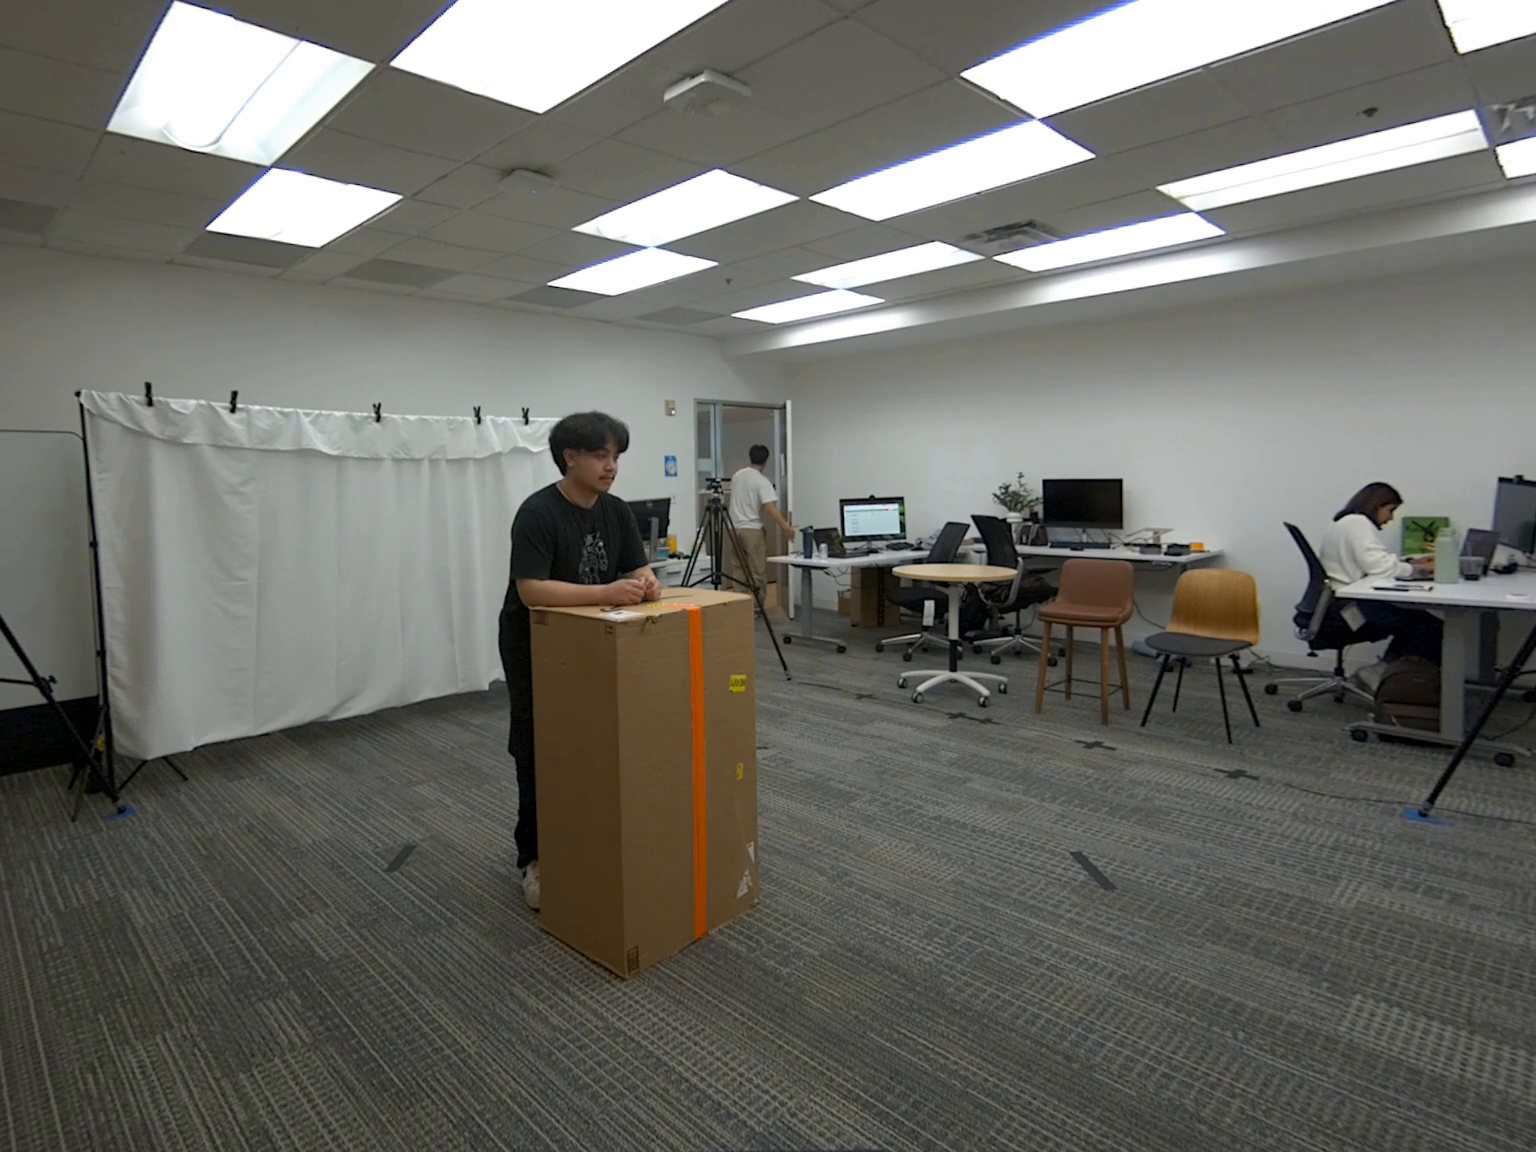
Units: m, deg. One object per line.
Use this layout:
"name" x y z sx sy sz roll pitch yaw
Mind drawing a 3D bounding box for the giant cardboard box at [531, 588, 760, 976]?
"giant cardboard box" -0.374 0.585 2.705 0.461 1.022 0.569 4 7 43
